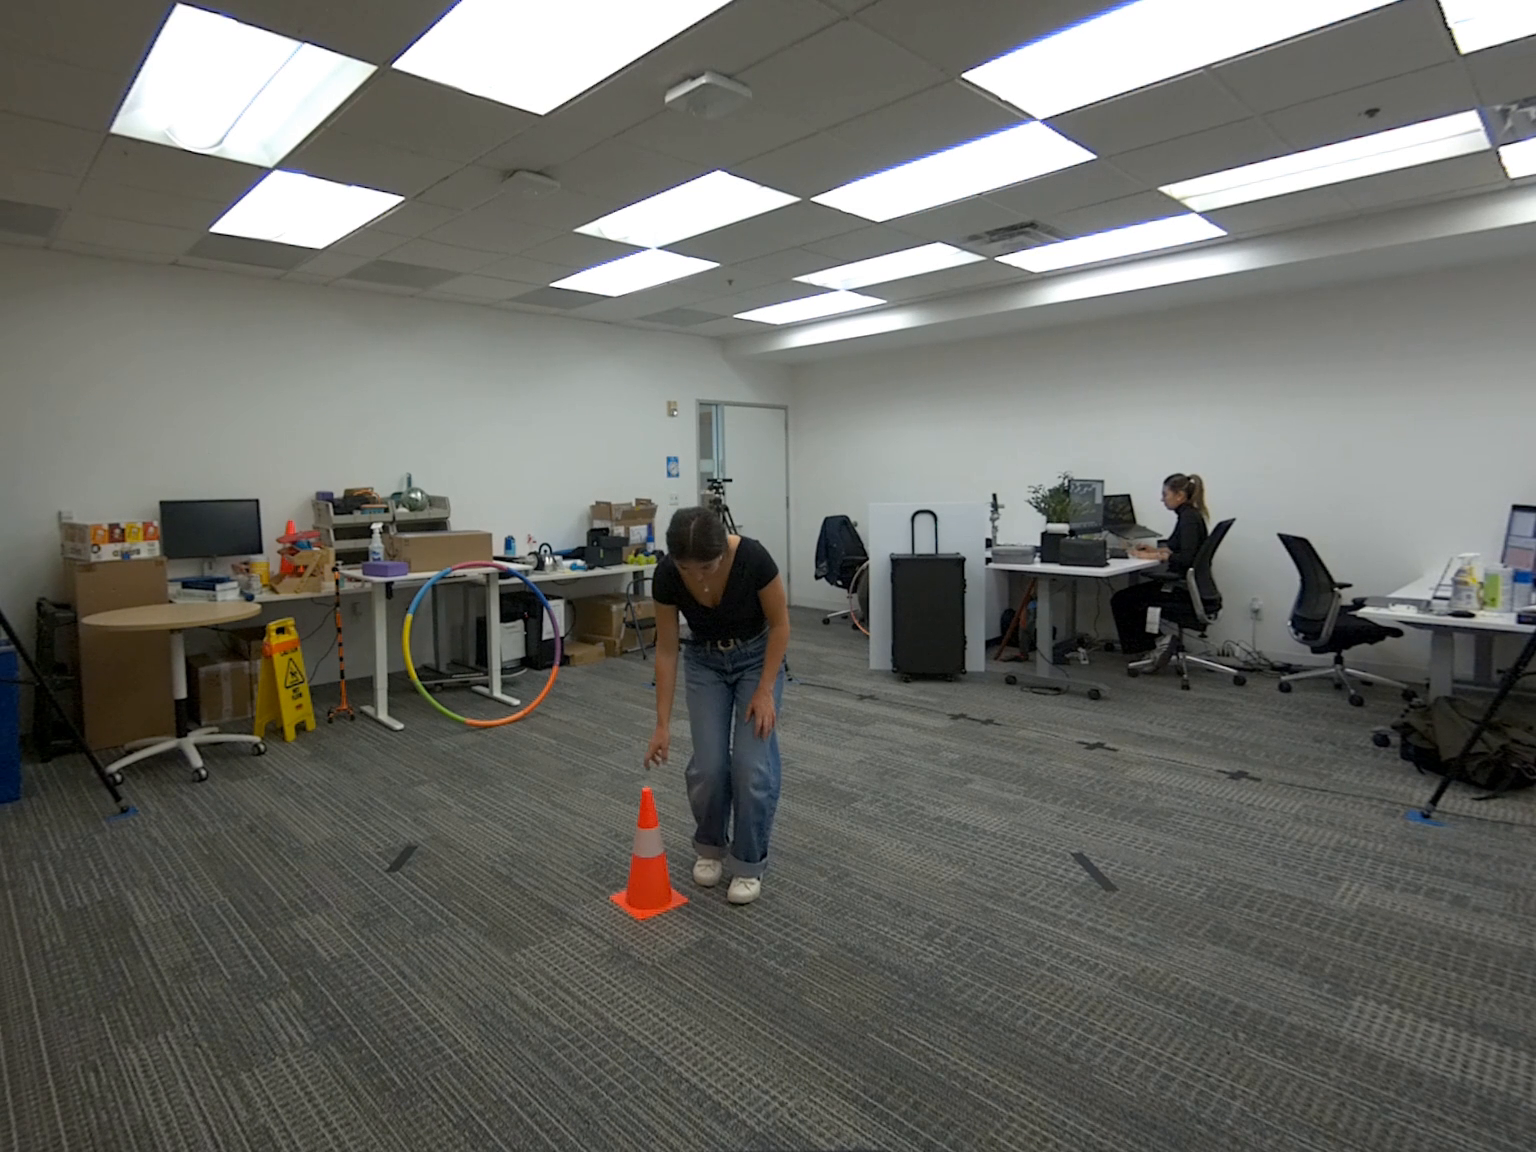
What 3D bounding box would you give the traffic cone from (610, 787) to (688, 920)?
[{"bbox_3d":[-0.396,0.893,2.843,0.200,0.382,0.210,-6,8,-42],"label":"traffic cone"}]
